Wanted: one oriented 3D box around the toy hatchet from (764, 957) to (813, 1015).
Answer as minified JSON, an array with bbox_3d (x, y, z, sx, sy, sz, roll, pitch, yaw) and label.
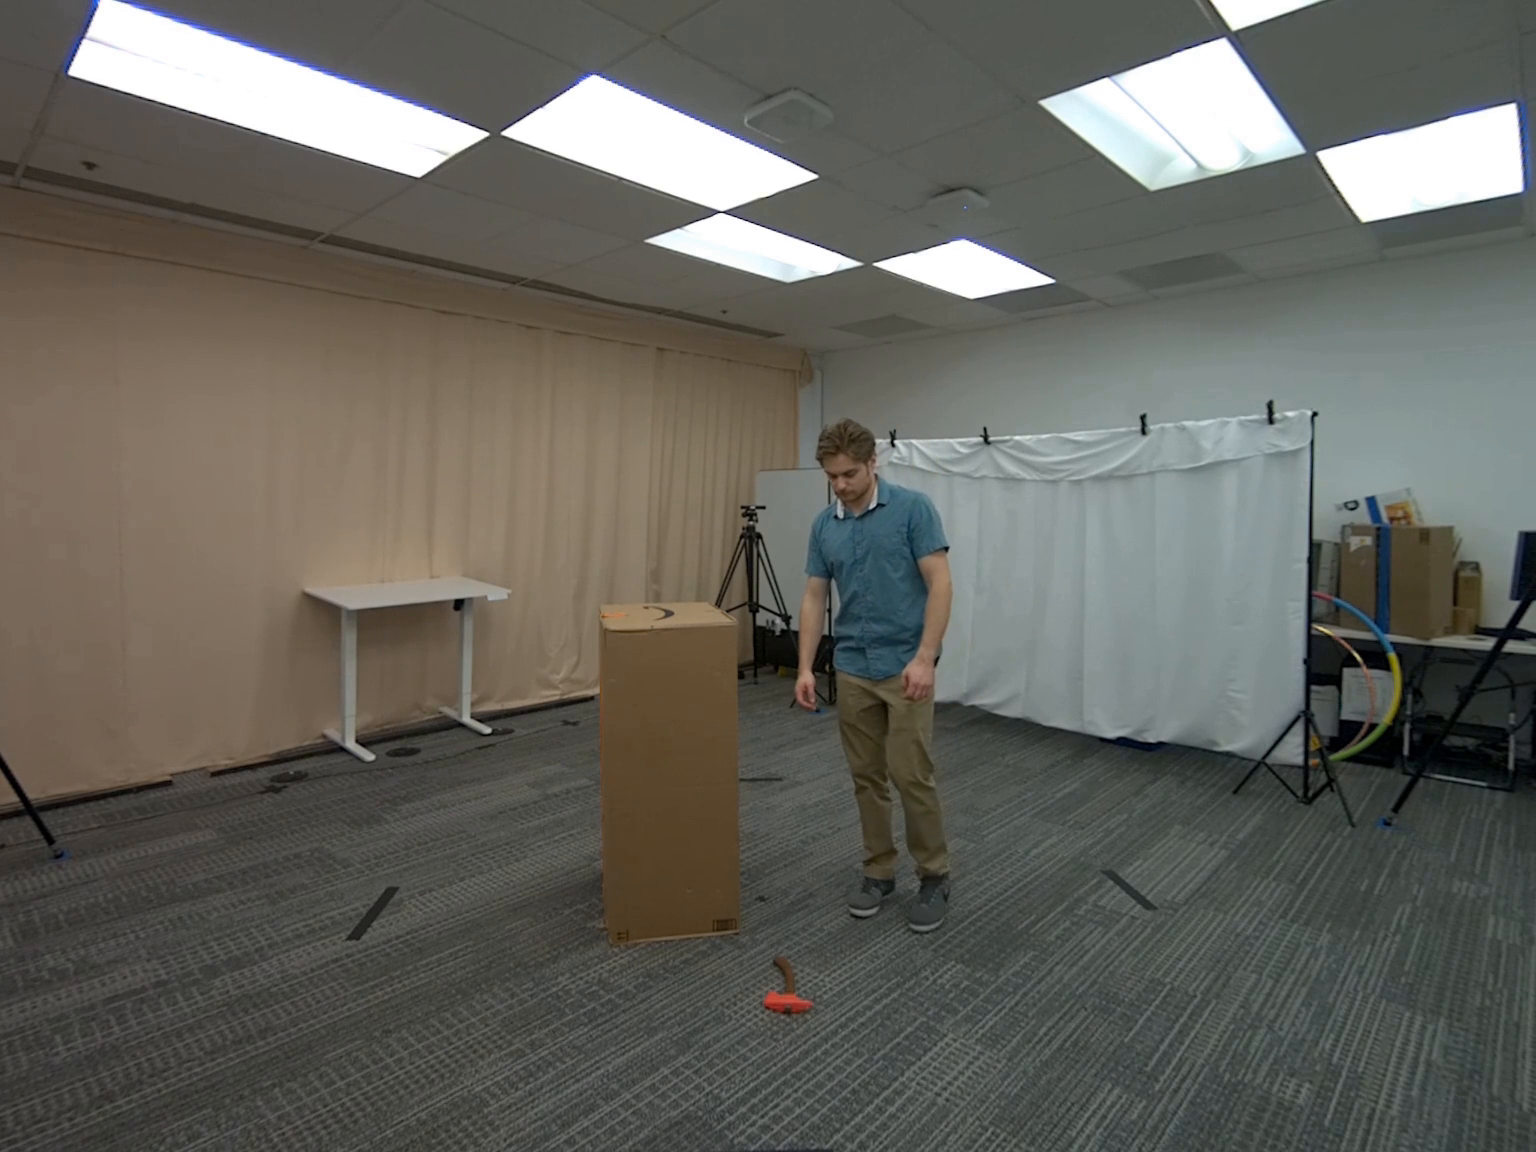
[{"bbox_3d":[0.029,1.178,2.428,0.129,0.029,0.274,-4,3,-14],"label":"toy hatchet"}]
